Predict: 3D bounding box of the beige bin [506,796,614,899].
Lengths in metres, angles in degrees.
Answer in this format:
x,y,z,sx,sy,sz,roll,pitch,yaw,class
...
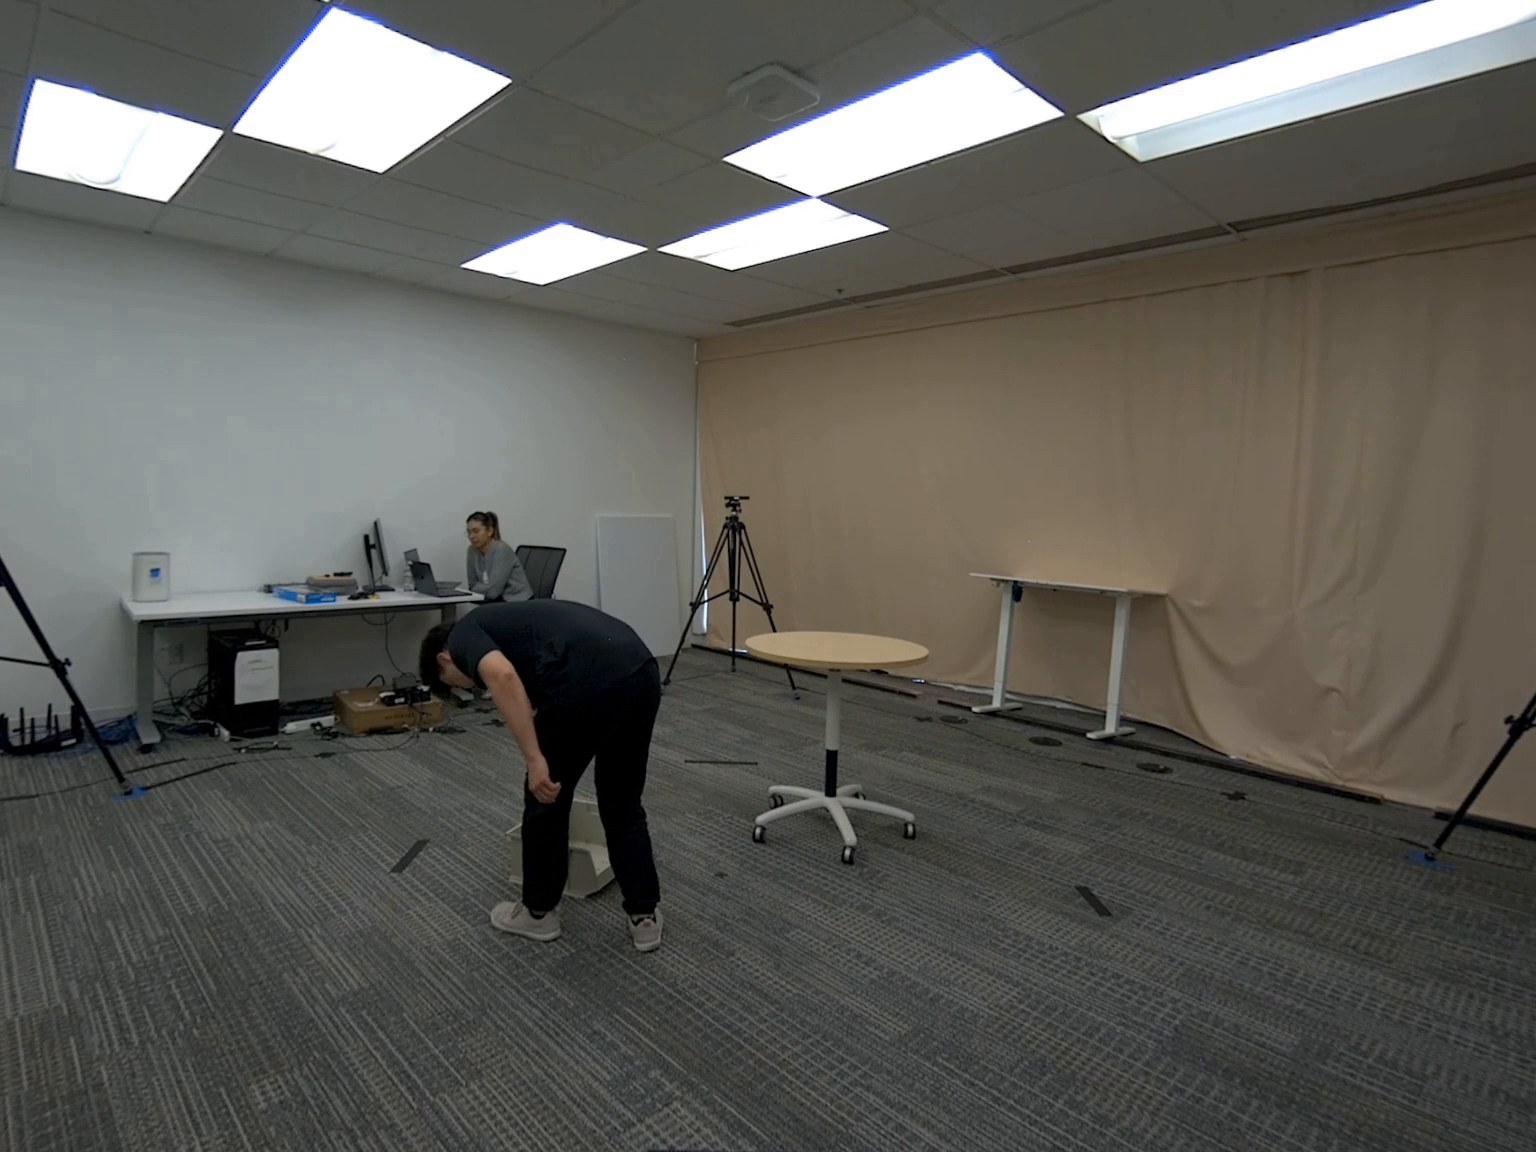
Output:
x,y,z,sx,sy,sz,roll,pitch,yaw,class
-0.699,1.005,3.131,0.383,0.188,0.417,2,5,19,beige bin
